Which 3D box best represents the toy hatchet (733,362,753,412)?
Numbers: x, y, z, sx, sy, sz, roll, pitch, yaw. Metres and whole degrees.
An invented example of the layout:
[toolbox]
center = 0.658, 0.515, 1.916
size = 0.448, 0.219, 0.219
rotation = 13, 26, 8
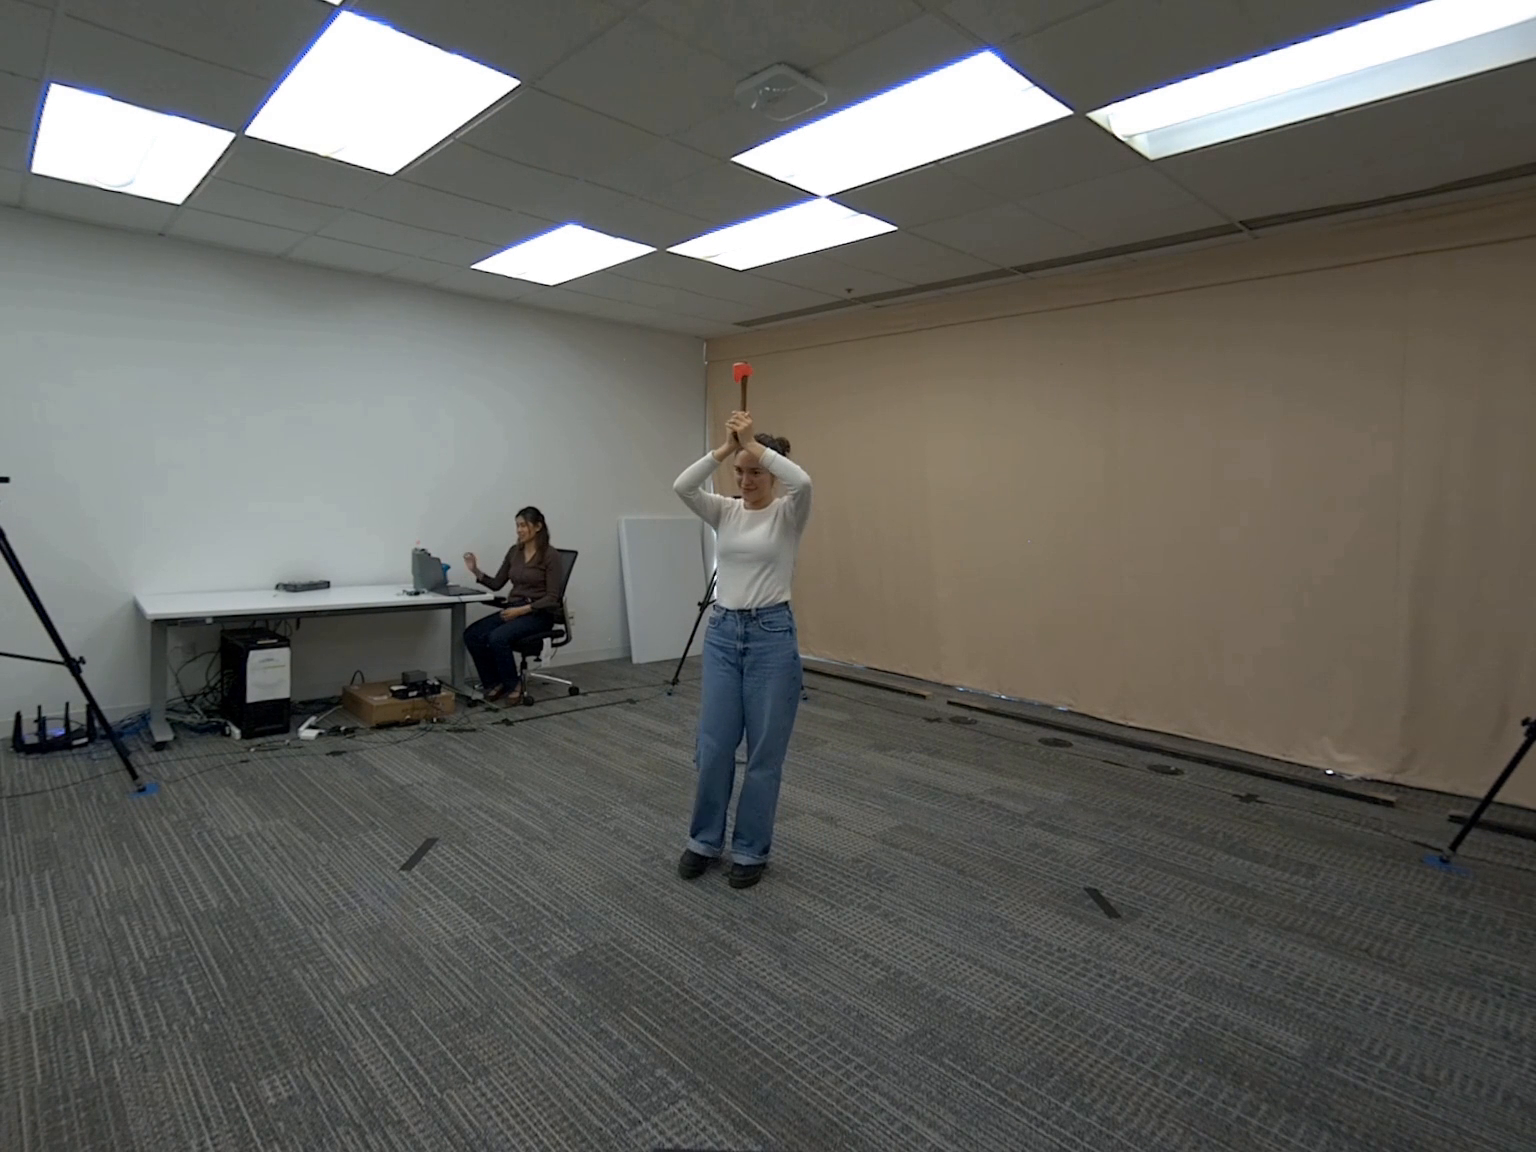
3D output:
[toy hatchet]
center = -0.108, -0.610, 2.863
size = 0.030, 0.272, 0.127
rotation = 1, -15, 22
